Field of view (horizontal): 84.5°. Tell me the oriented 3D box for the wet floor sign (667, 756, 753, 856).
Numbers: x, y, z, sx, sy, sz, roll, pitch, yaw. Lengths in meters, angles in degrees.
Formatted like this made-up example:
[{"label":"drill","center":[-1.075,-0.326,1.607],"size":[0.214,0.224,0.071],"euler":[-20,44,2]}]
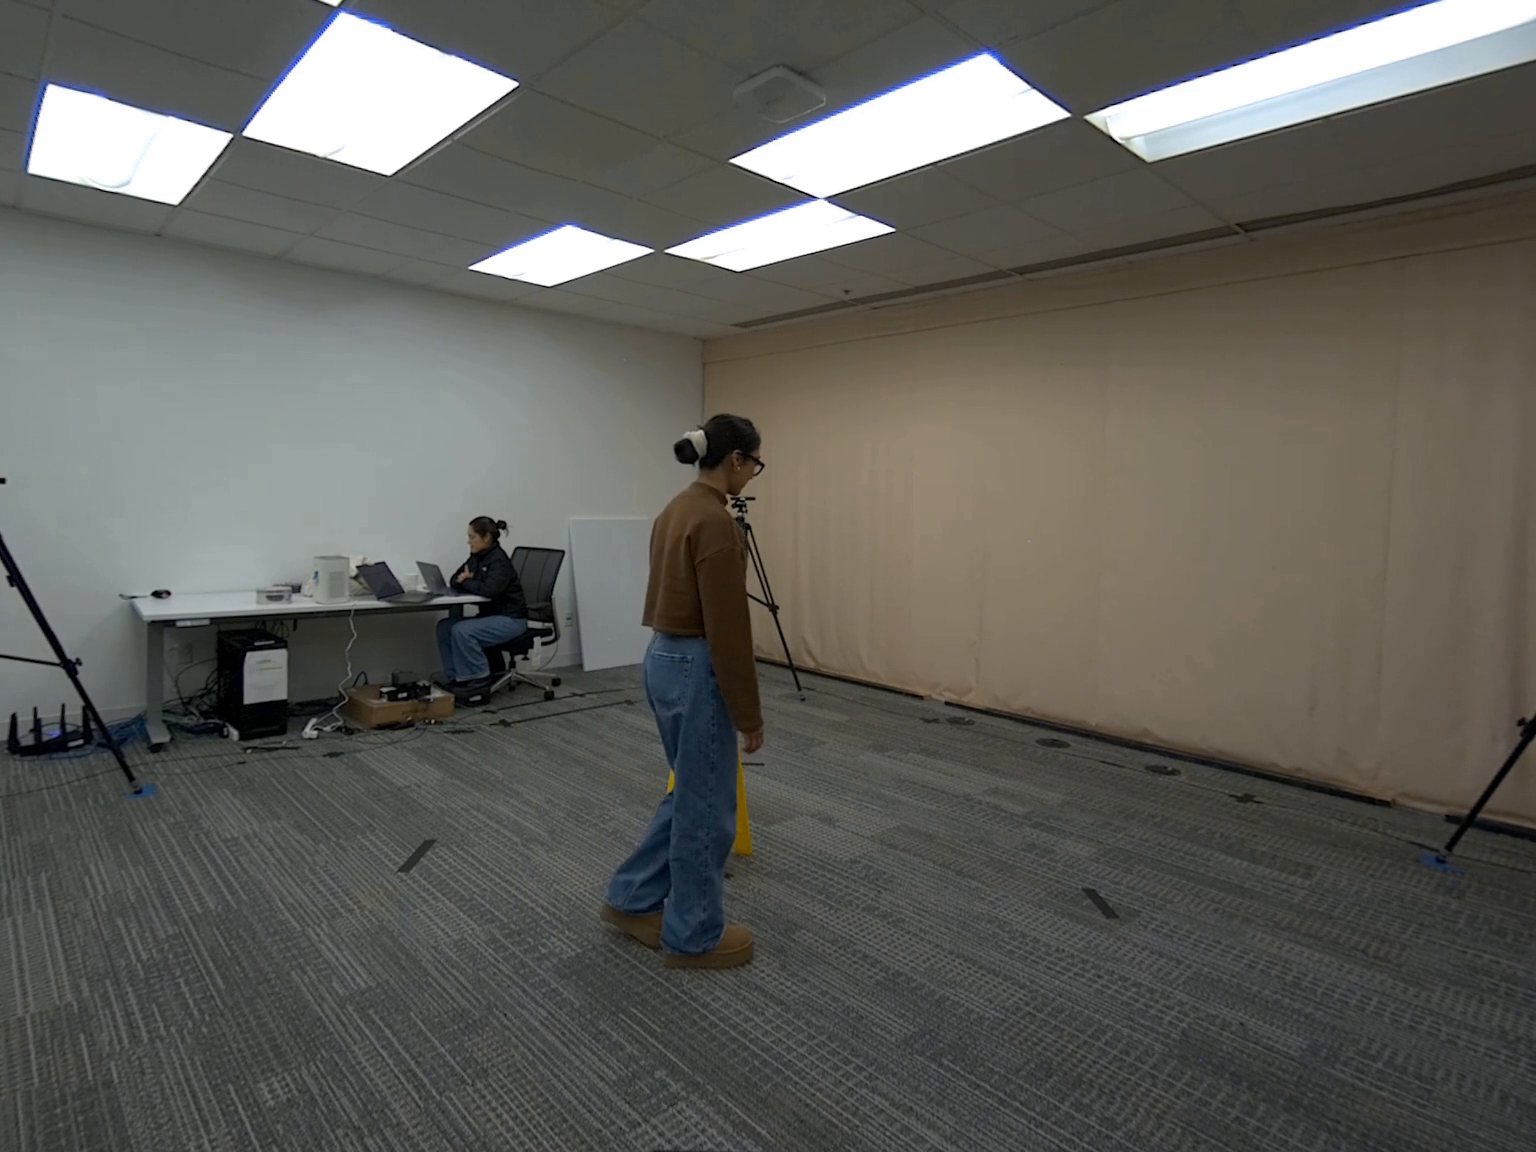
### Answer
[{"label":"wet floor sign","center":[-0.246,0.773,3.224],"size":[0.288,0.644,0.285],"euler":[2,4,26]}]
